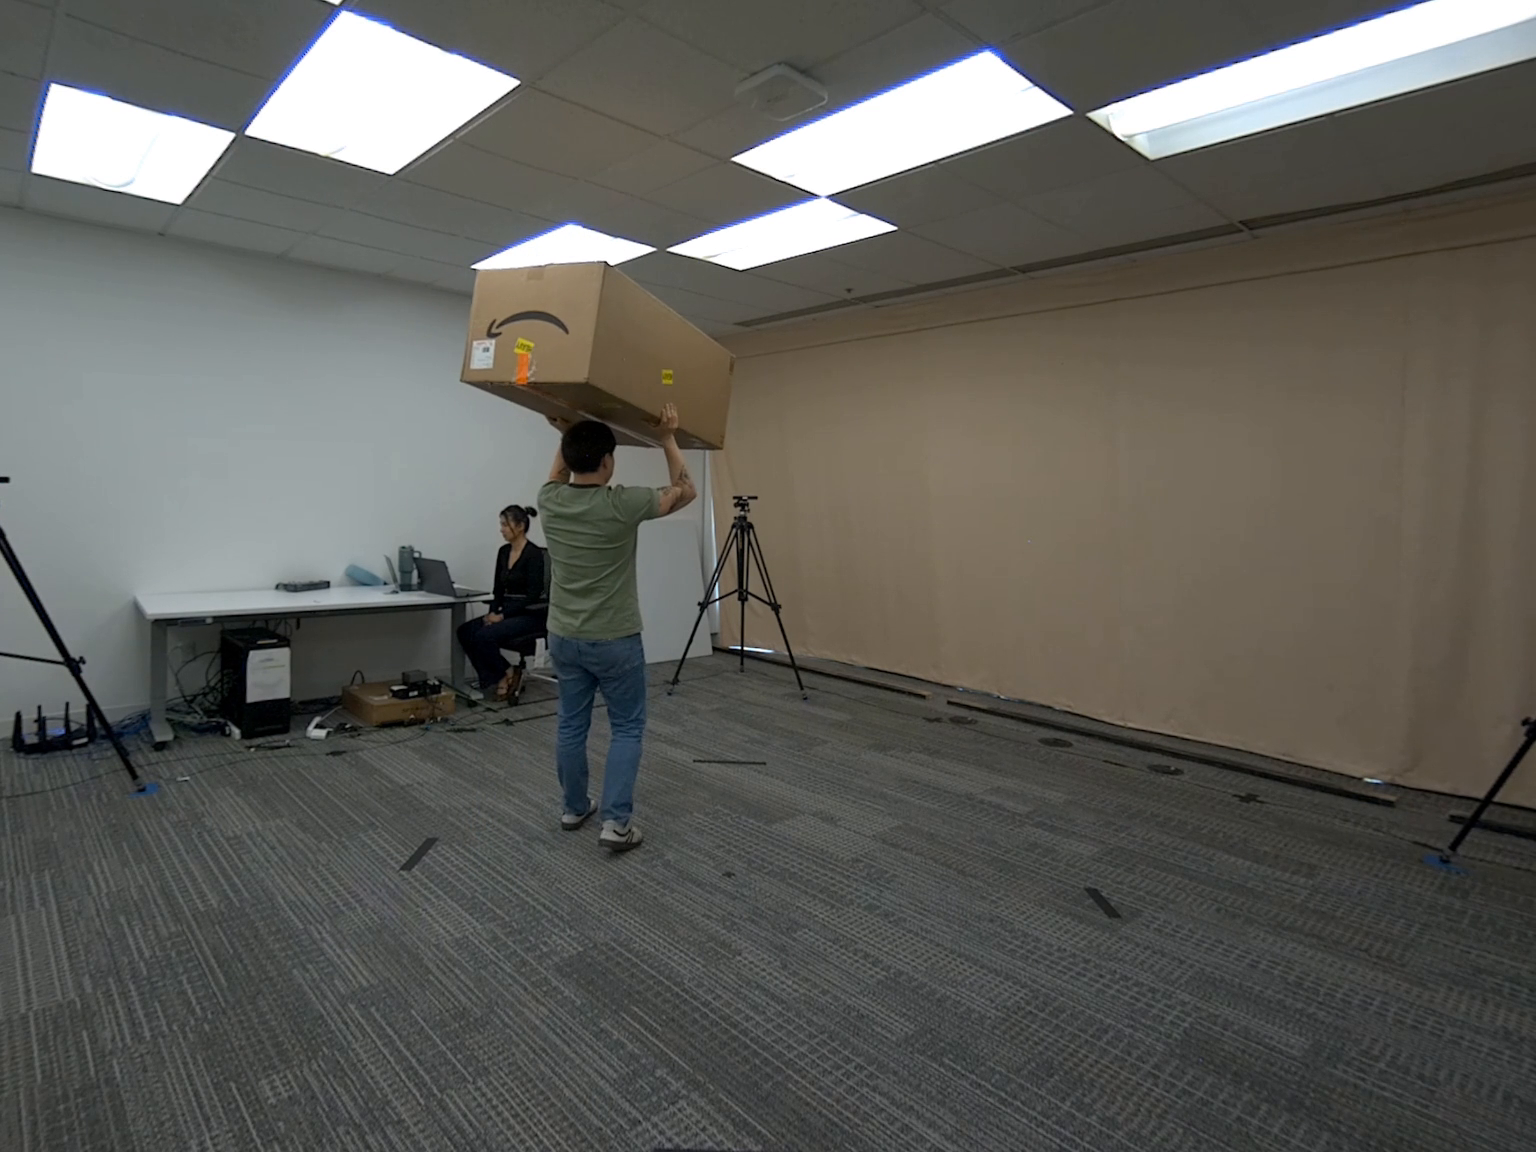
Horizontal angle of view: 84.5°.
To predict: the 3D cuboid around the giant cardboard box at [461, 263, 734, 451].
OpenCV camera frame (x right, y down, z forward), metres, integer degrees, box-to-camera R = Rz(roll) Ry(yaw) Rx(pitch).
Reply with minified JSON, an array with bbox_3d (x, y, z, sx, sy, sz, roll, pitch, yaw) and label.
[{"bbox_3d":[-0.633,-0.832,3.369,0.589,0.427,1.003,6,-3,25],"label":"giant cardboard box"}]
